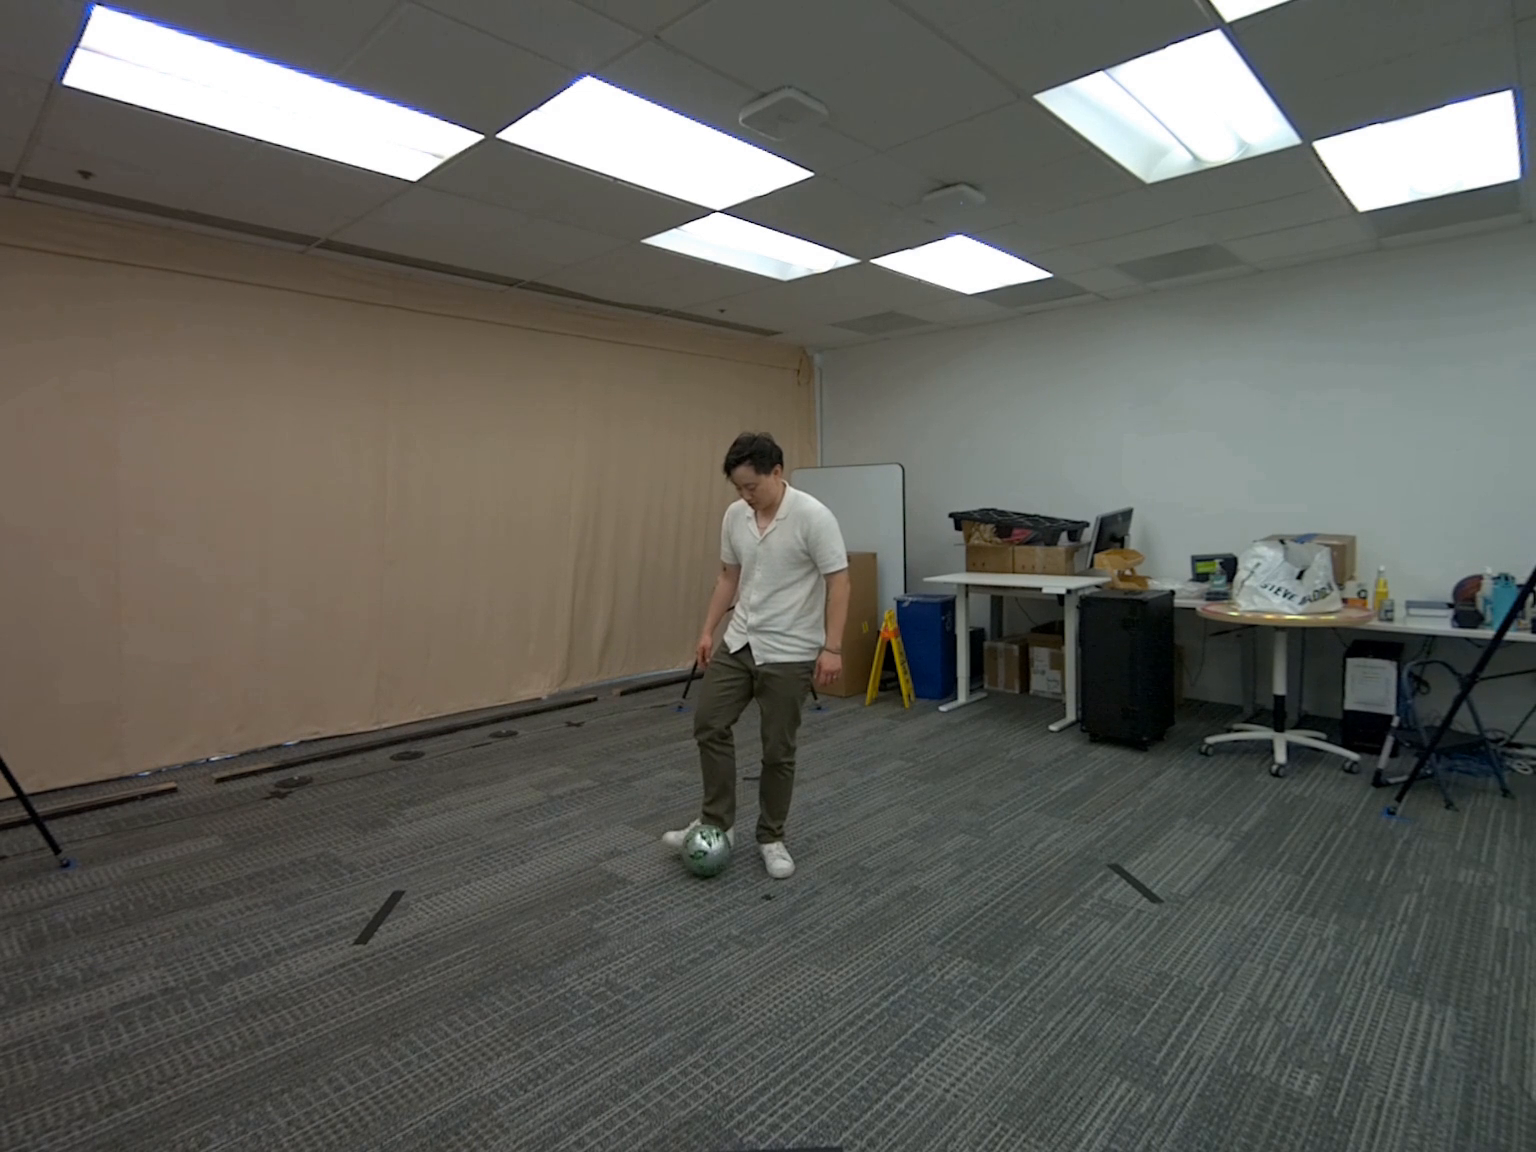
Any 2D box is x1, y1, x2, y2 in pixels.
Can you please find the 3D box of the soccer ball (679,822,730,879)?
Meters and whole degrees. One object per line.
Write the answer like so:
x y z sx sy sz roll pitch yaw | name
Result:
-0.237 1.033 3.171 0.187 0.187 0.188 -1 4 -2 | soccer ball
